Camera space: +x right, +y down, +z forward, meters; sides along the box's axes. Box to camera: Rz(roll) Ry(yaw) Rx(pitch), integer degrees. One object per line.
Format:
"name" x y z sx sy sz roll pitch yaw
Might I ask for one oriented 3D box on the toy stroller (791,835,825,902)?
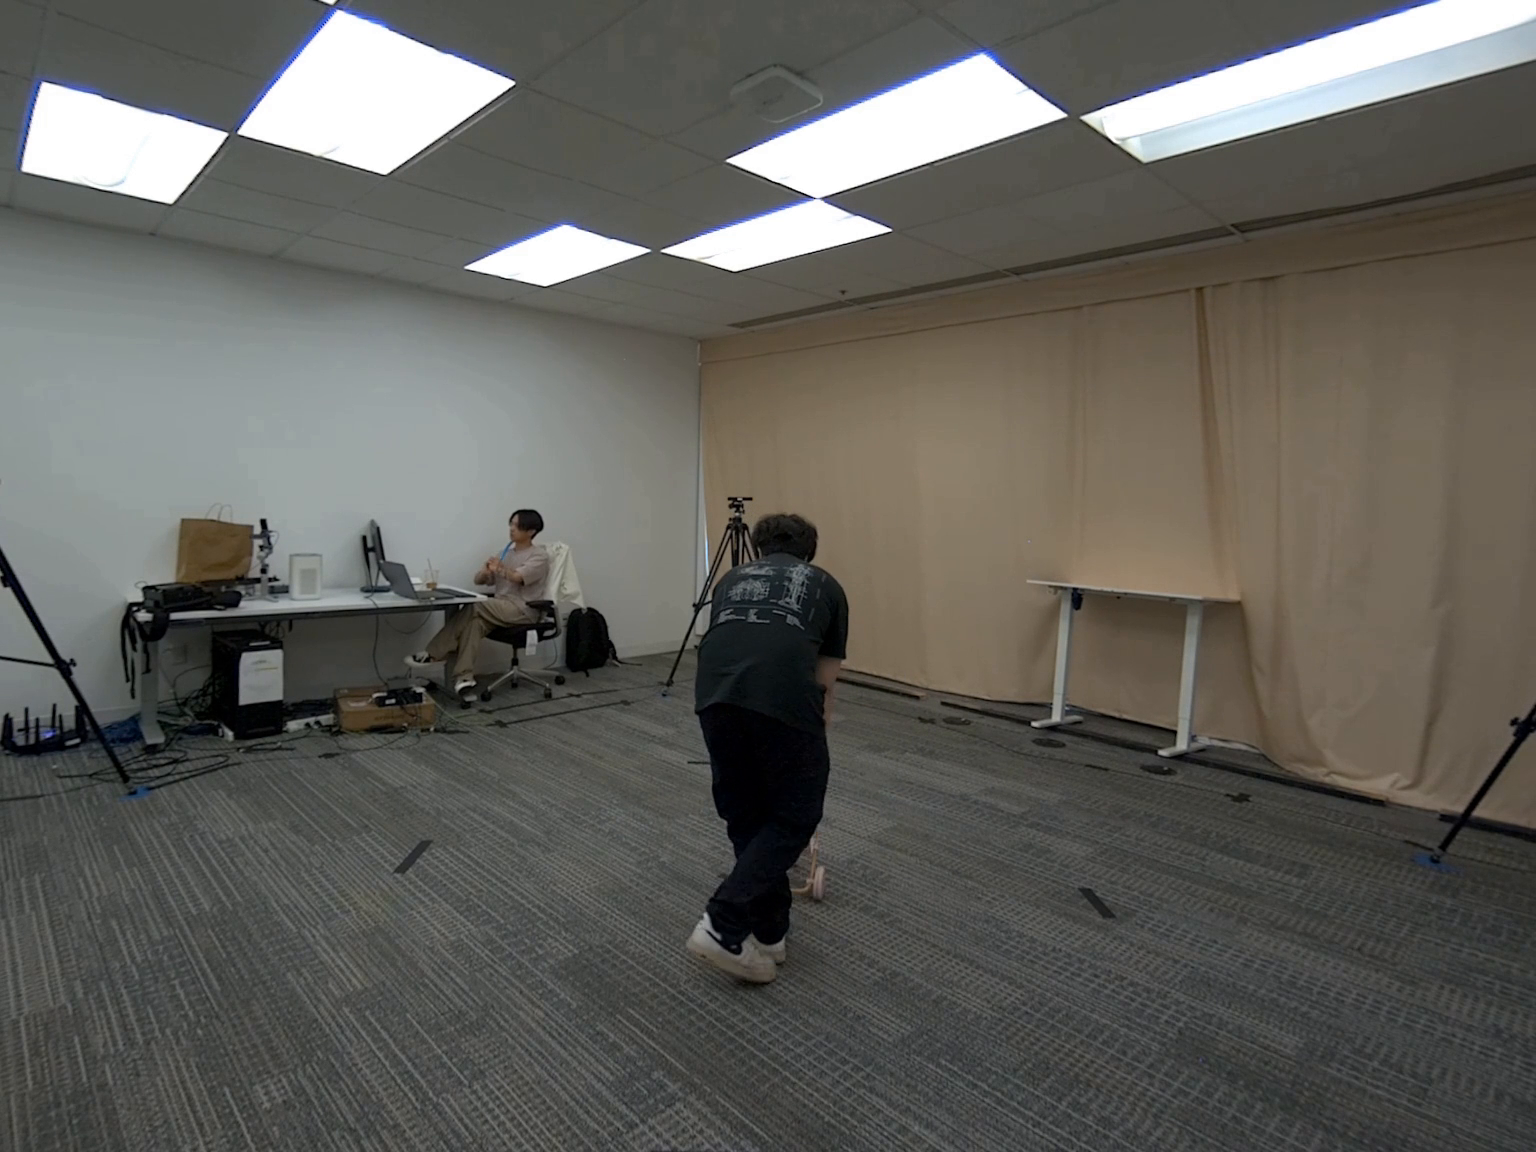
"toy stroller" 0.072 0.899 3.018 0.285 0.528 0.342 3 19 14
